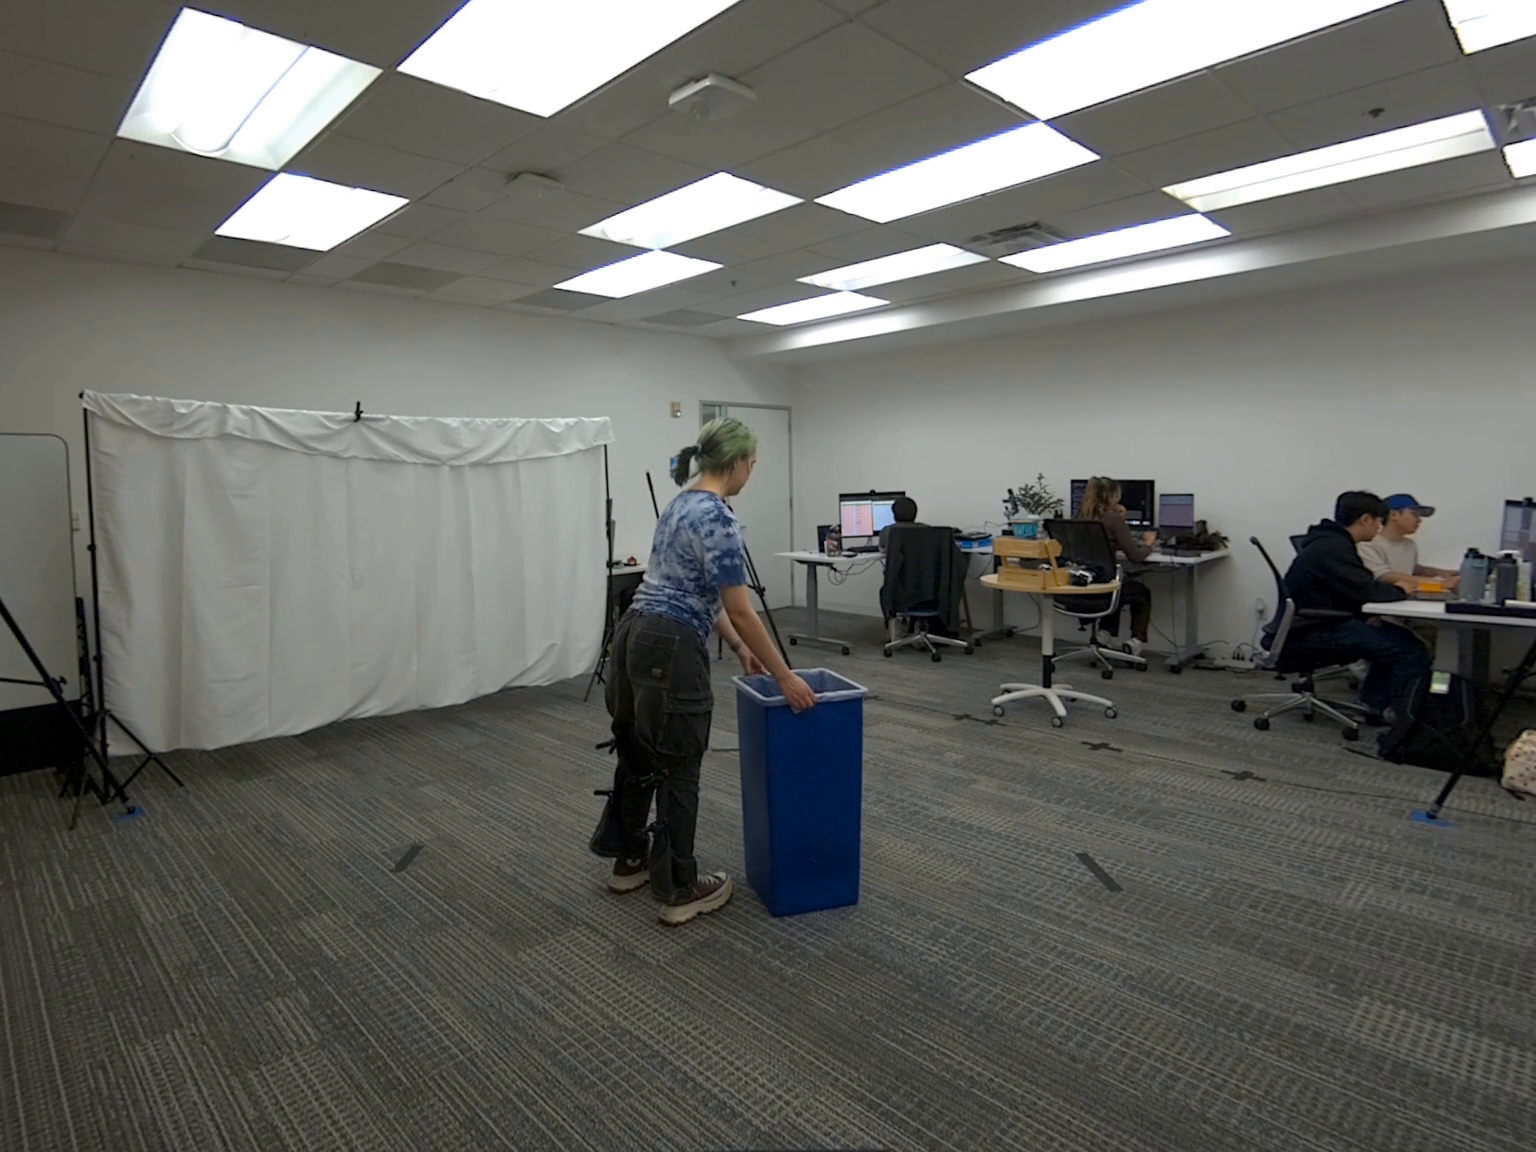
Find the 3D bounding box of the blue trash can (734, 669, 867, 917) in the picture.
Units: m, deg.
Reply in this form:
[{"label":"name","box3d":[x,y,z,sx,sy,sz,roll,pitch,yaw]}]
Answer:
[{"label":"blue trash can","box3d":[0.100,0.710,2.893,0.372,0.711,0.382,-2,5,-19]}]
